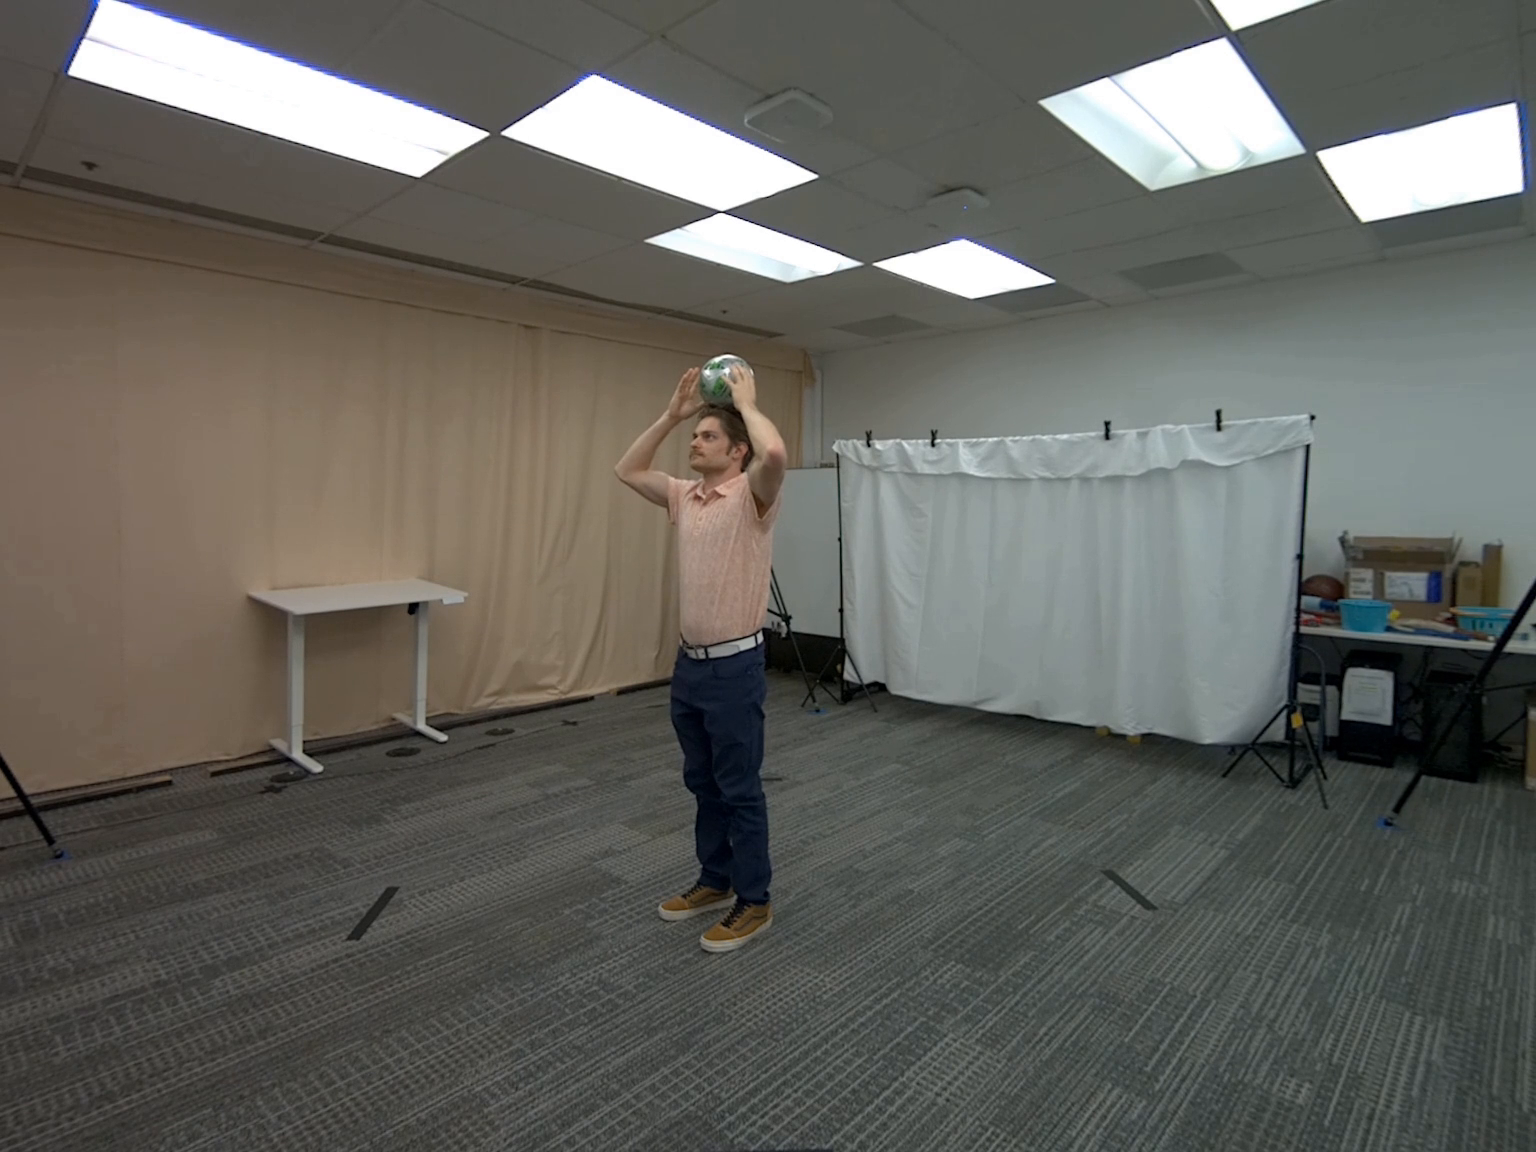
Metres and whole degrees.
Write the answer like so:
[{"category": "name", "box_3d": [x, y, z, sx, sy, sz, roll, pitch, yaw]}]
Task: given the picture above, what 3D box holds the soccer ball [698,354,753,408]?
[{"category": "soccer ball", "box_3d": [-0.134, -0.632, 2.772, 0.187, 0.187, 0.188, 0, 4, -2]}]
